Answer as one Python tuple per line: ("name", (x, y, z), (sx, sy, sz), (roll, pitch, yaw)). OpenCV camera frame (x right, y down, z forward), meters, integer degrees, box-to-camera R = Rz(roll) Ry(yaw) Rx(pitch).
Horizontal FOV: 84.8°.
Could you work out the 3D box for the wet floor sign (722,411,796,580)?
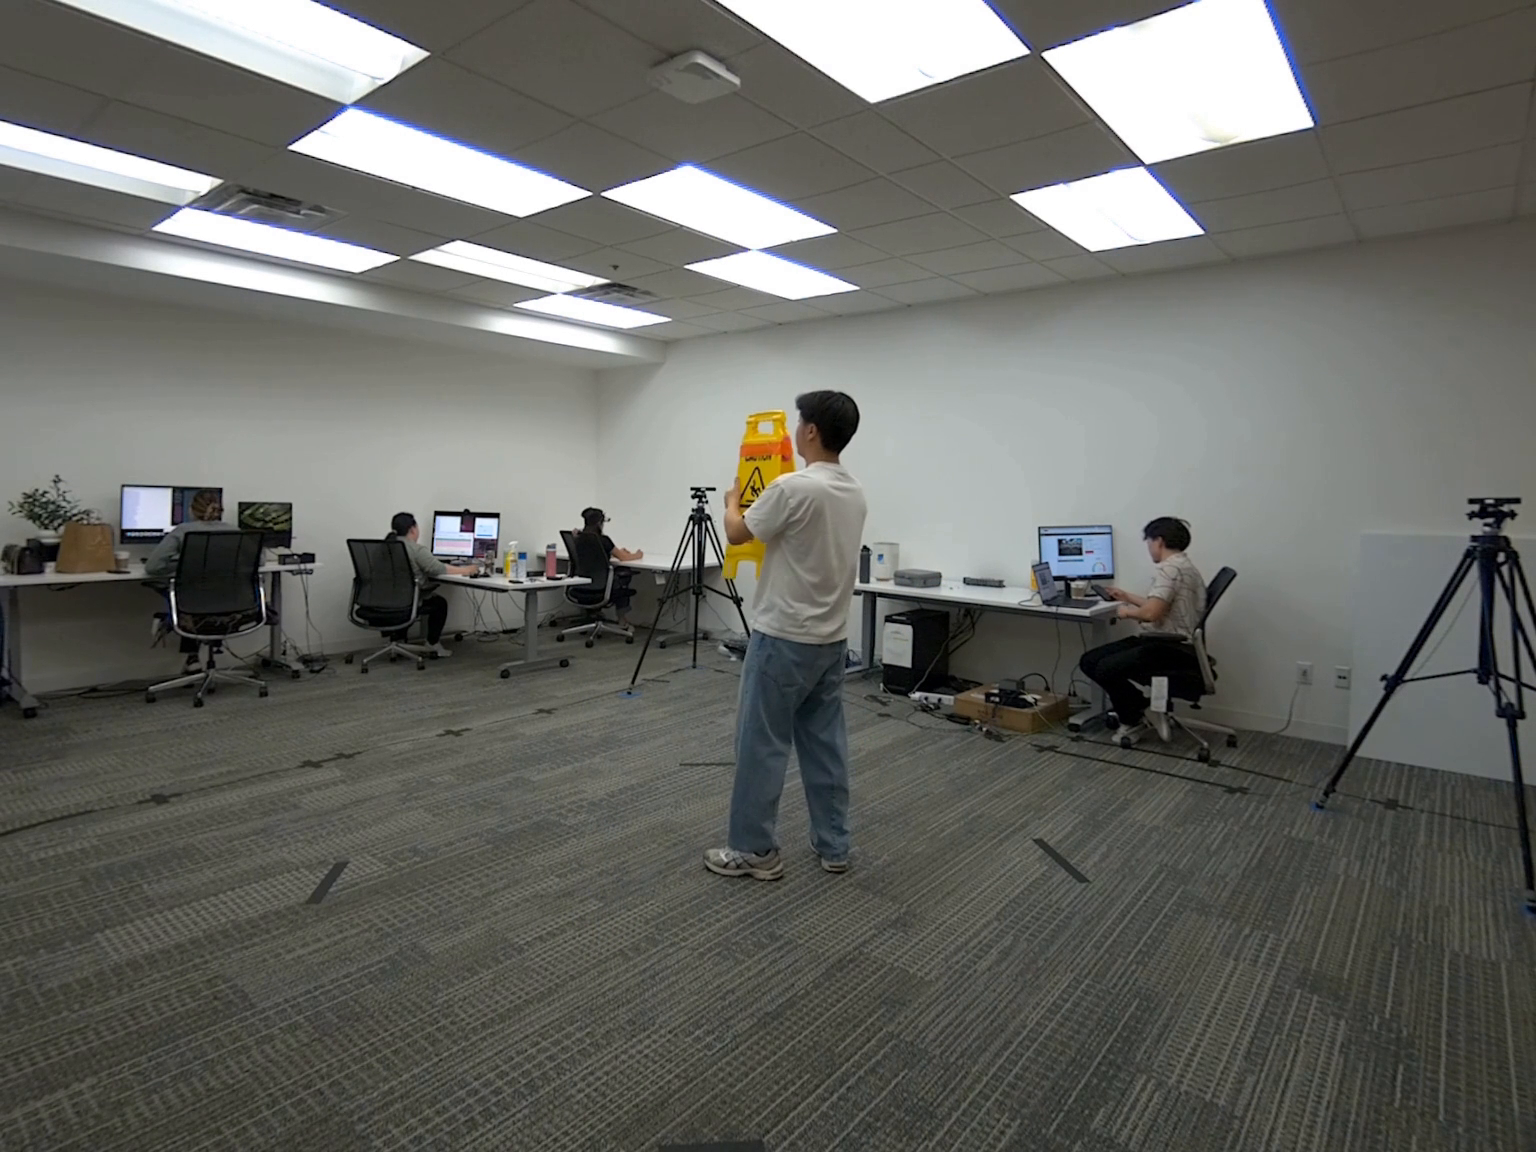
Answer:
("wet floor sign", (-0.019, -0.319, 3.341), (0.281, 0.644, 0.292), (-1, 5, -43))
